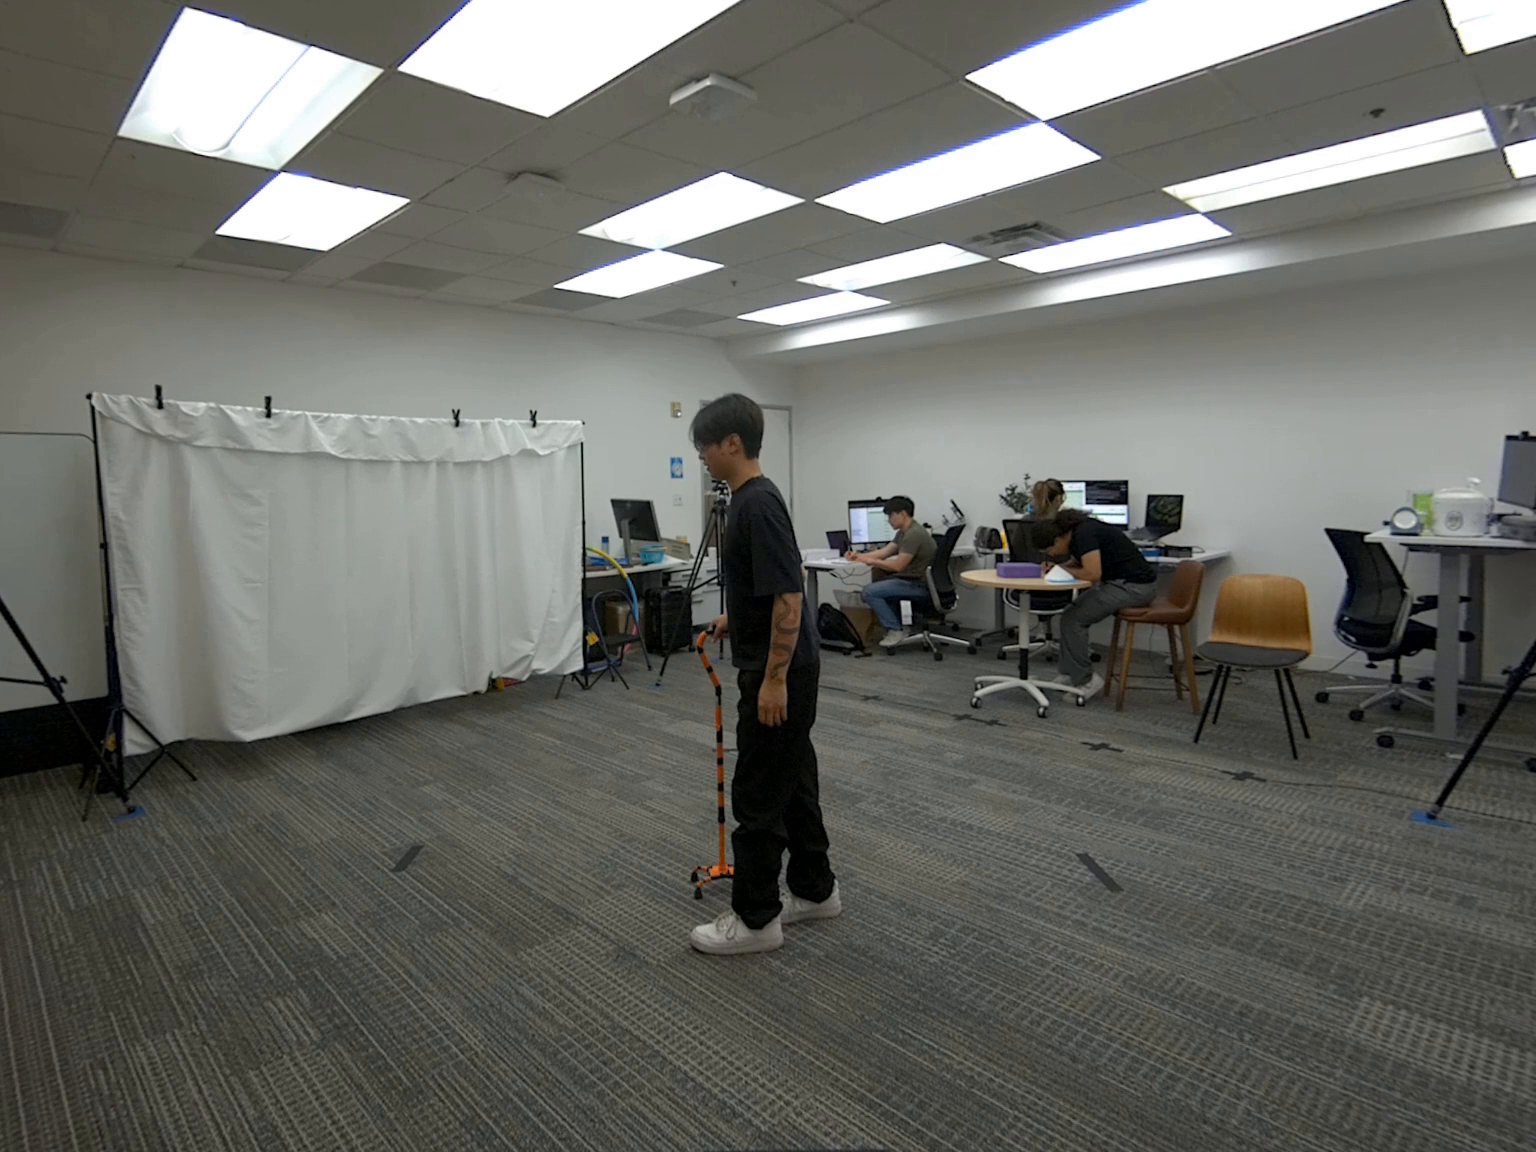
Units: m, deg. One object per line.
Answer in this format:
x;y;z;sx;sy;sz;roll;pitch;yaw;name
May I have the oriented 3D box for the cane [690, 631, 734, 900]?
-0.167;0.623;2.908;0.204;0.906;0.153;-2;2;-10;cane
